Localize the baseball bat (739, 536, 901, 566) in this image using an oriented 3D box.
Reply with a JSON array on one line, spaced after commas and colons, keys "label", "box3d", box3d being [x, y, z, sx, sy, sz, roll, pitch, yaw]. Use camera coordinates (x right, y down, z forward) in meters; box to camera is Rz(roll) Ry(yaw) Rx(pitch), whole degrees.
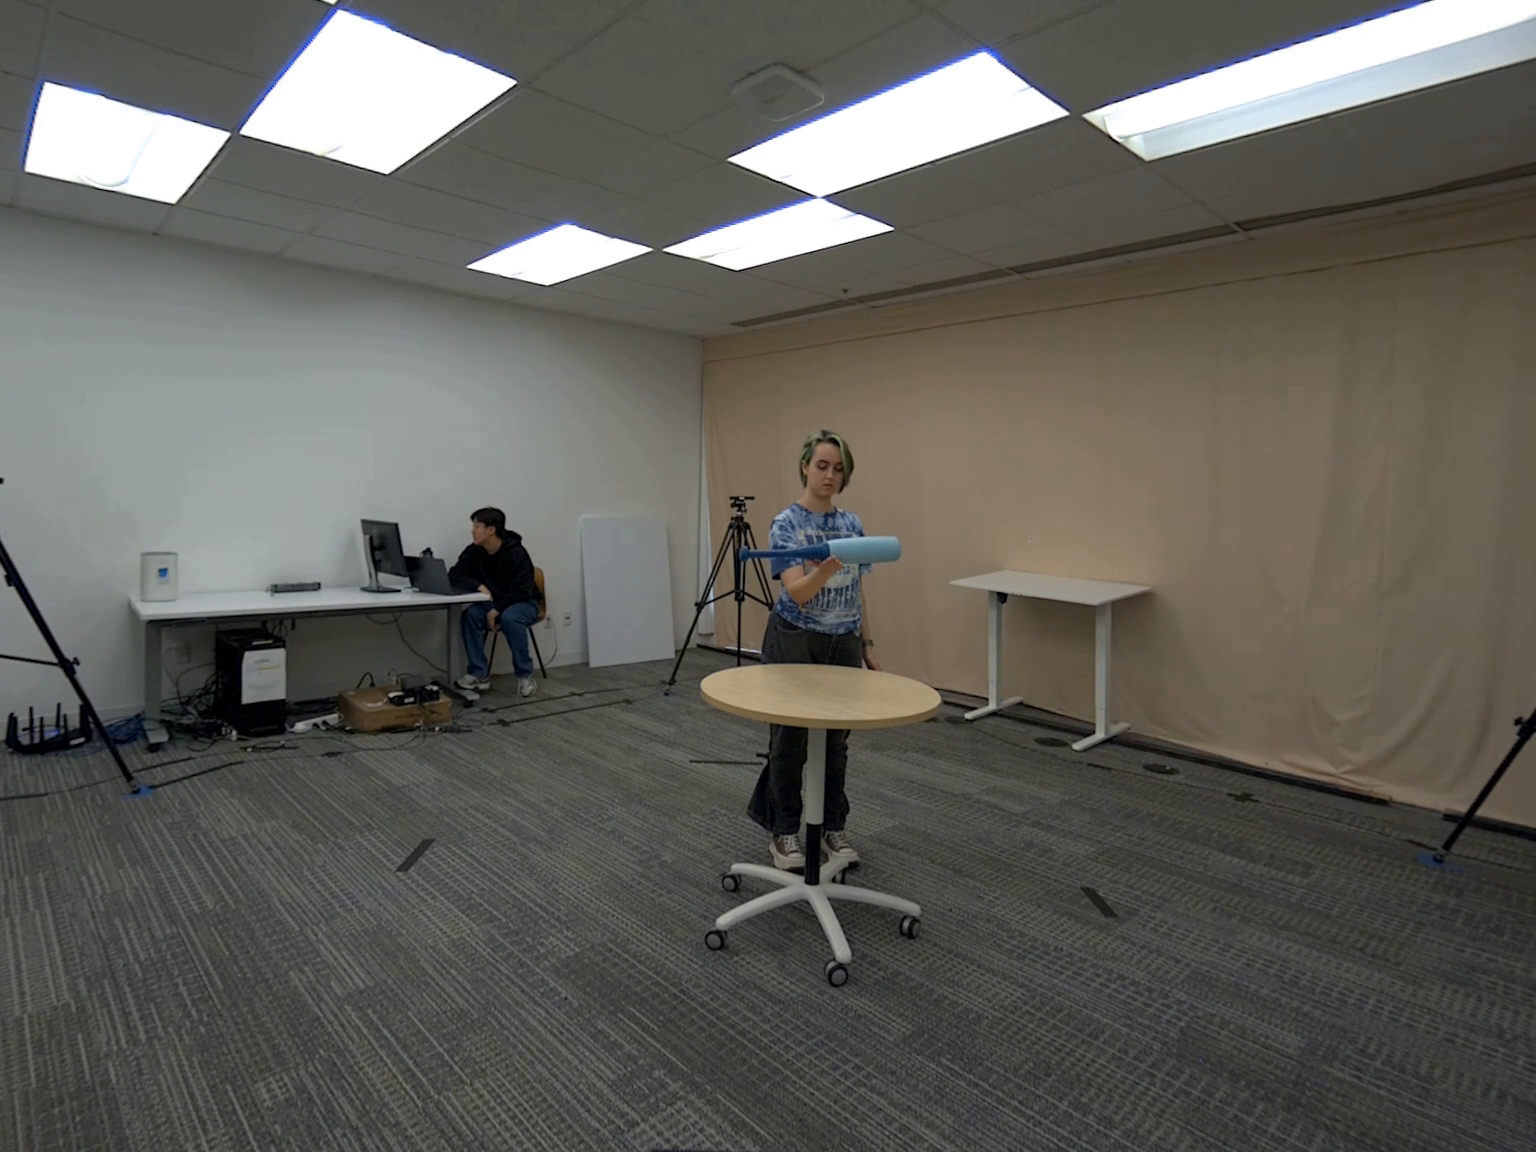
[{"label": "baseball bat", "box3d": [0.171, -0.075, 2.758, 0.538, 0.089, 0.090, -3, 5, -11]}]
